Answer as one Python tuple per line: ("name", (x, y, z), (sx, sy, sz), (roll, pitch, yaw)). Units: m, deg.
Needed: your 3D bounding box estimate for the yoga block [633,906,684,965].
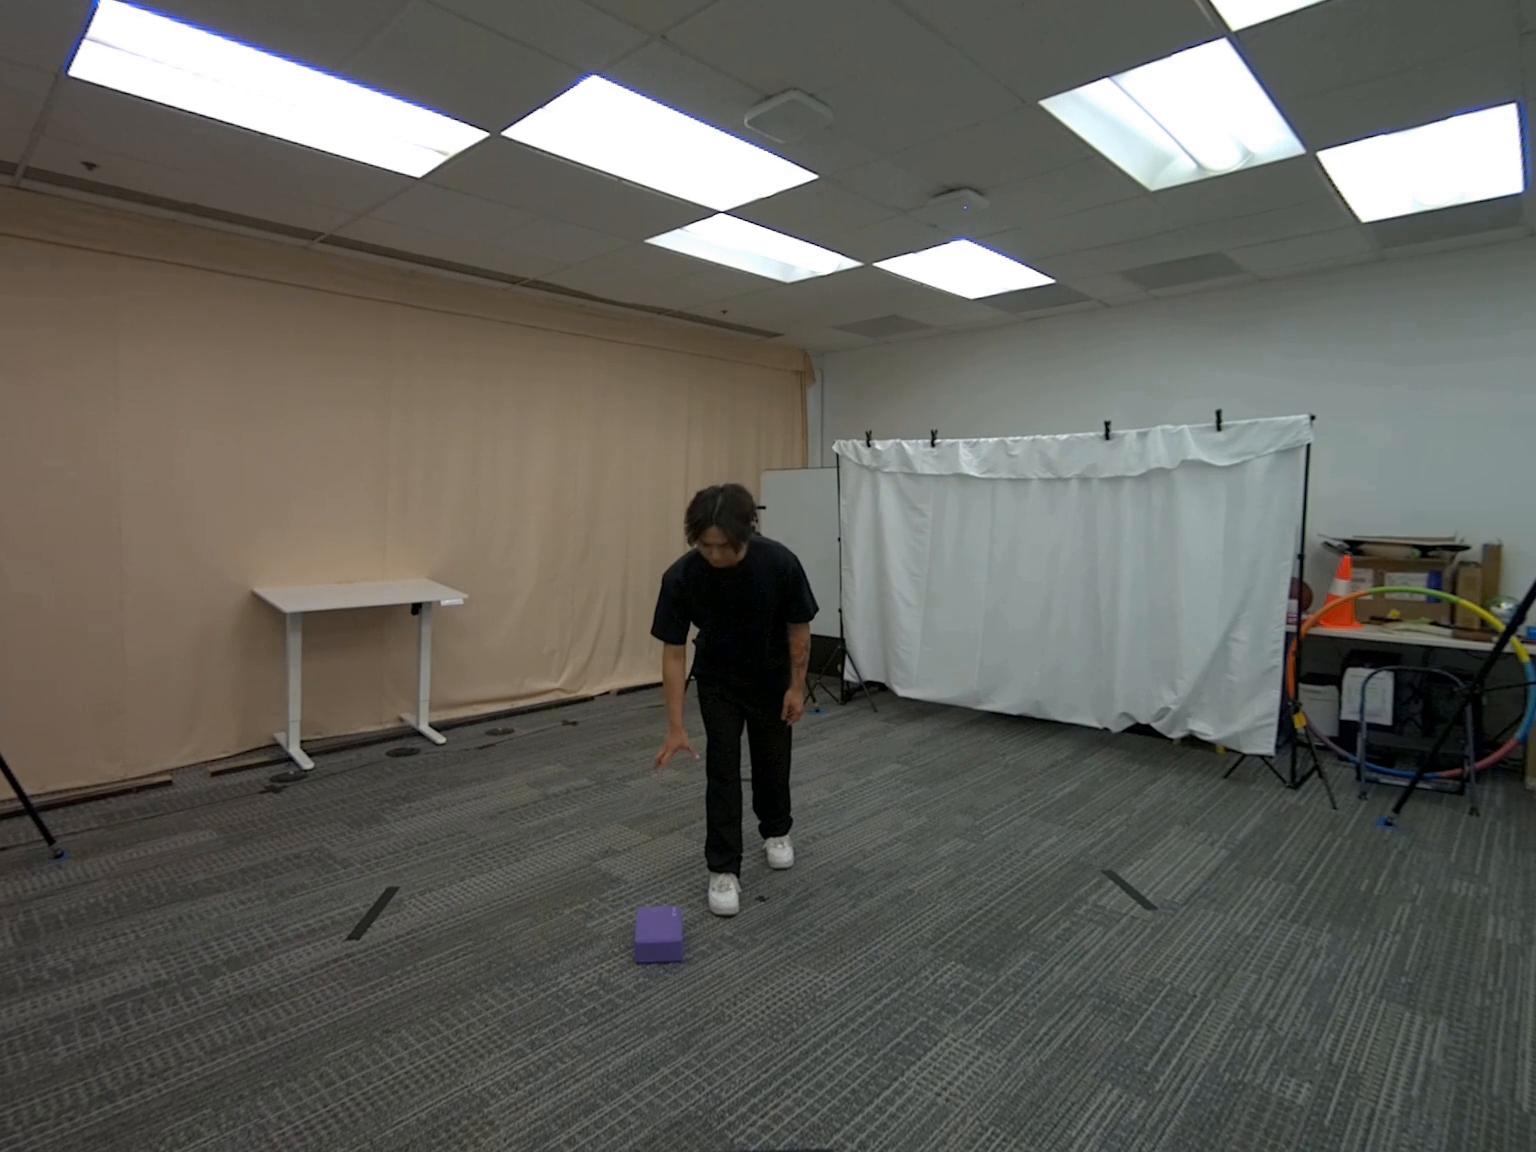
("yoga block", (-0.345, 1.131, 2.664), (0.148, 0.076, 0.231), (0, 5, -6))
